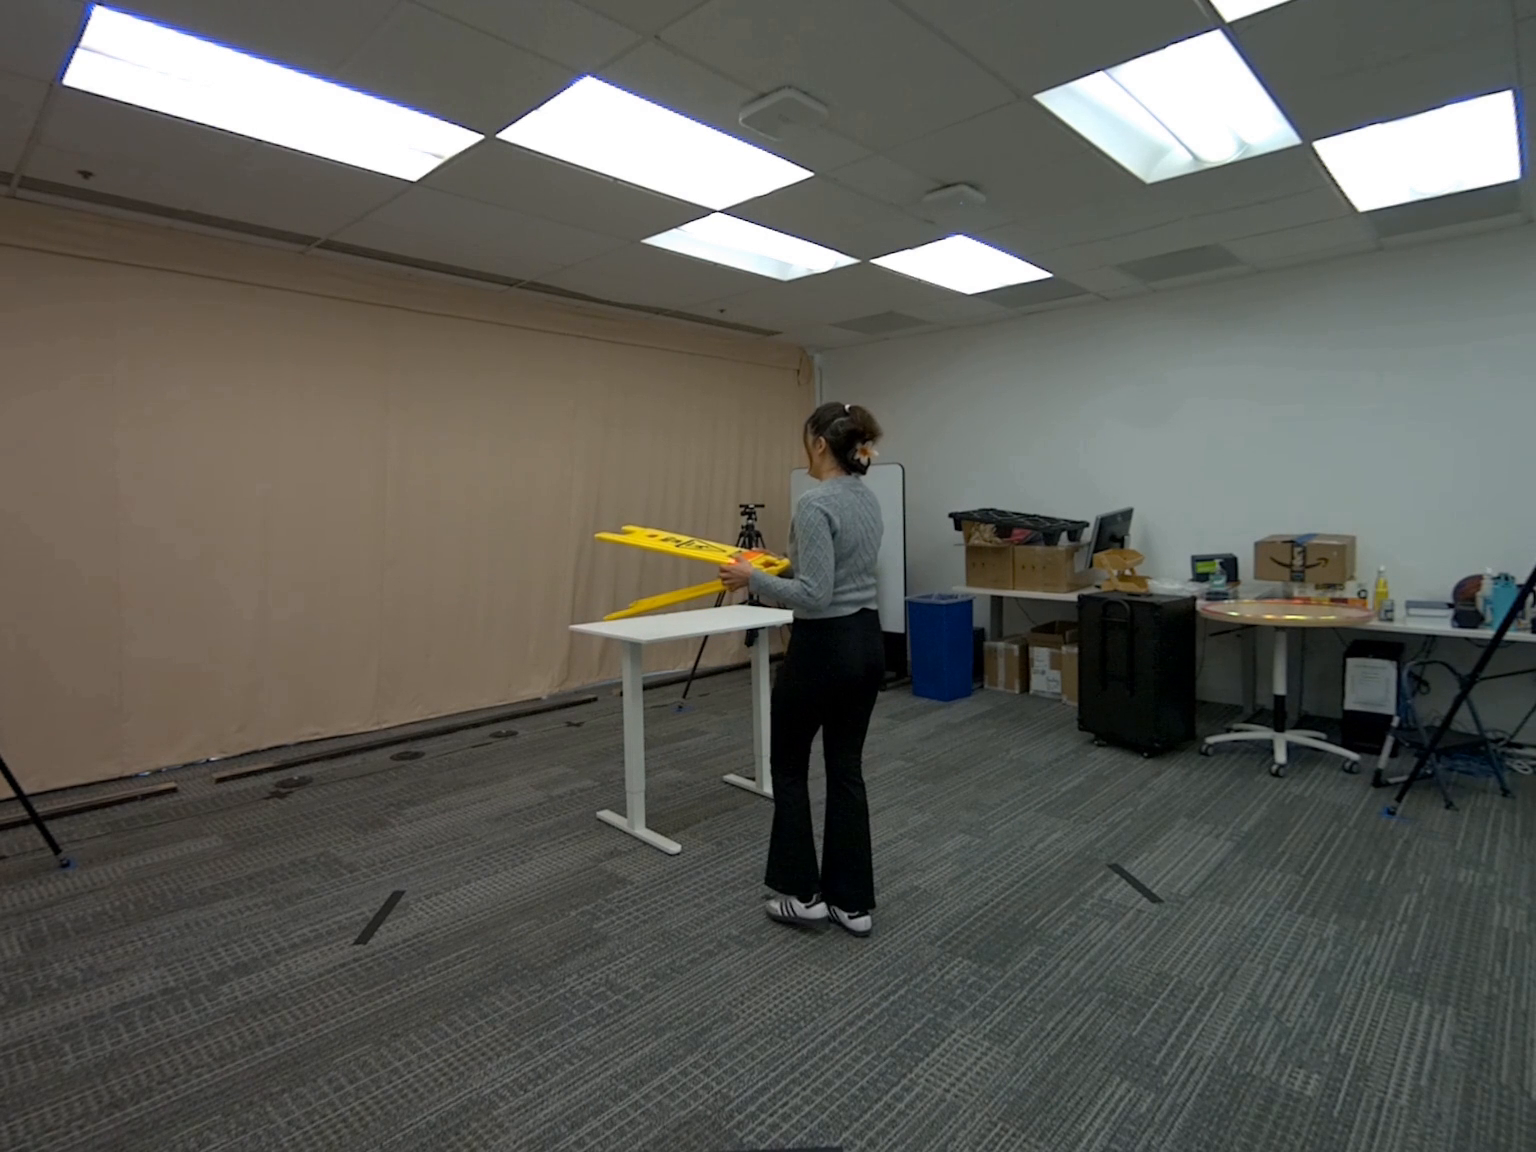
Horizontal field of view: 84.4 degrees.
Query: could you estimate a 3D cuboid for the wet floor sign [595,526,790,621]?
[{"bbox_3d":[-0.246,-0.020,2.907,0.659,0.288,0.278,-1,10,20],"label":"wet floor sign"}]
